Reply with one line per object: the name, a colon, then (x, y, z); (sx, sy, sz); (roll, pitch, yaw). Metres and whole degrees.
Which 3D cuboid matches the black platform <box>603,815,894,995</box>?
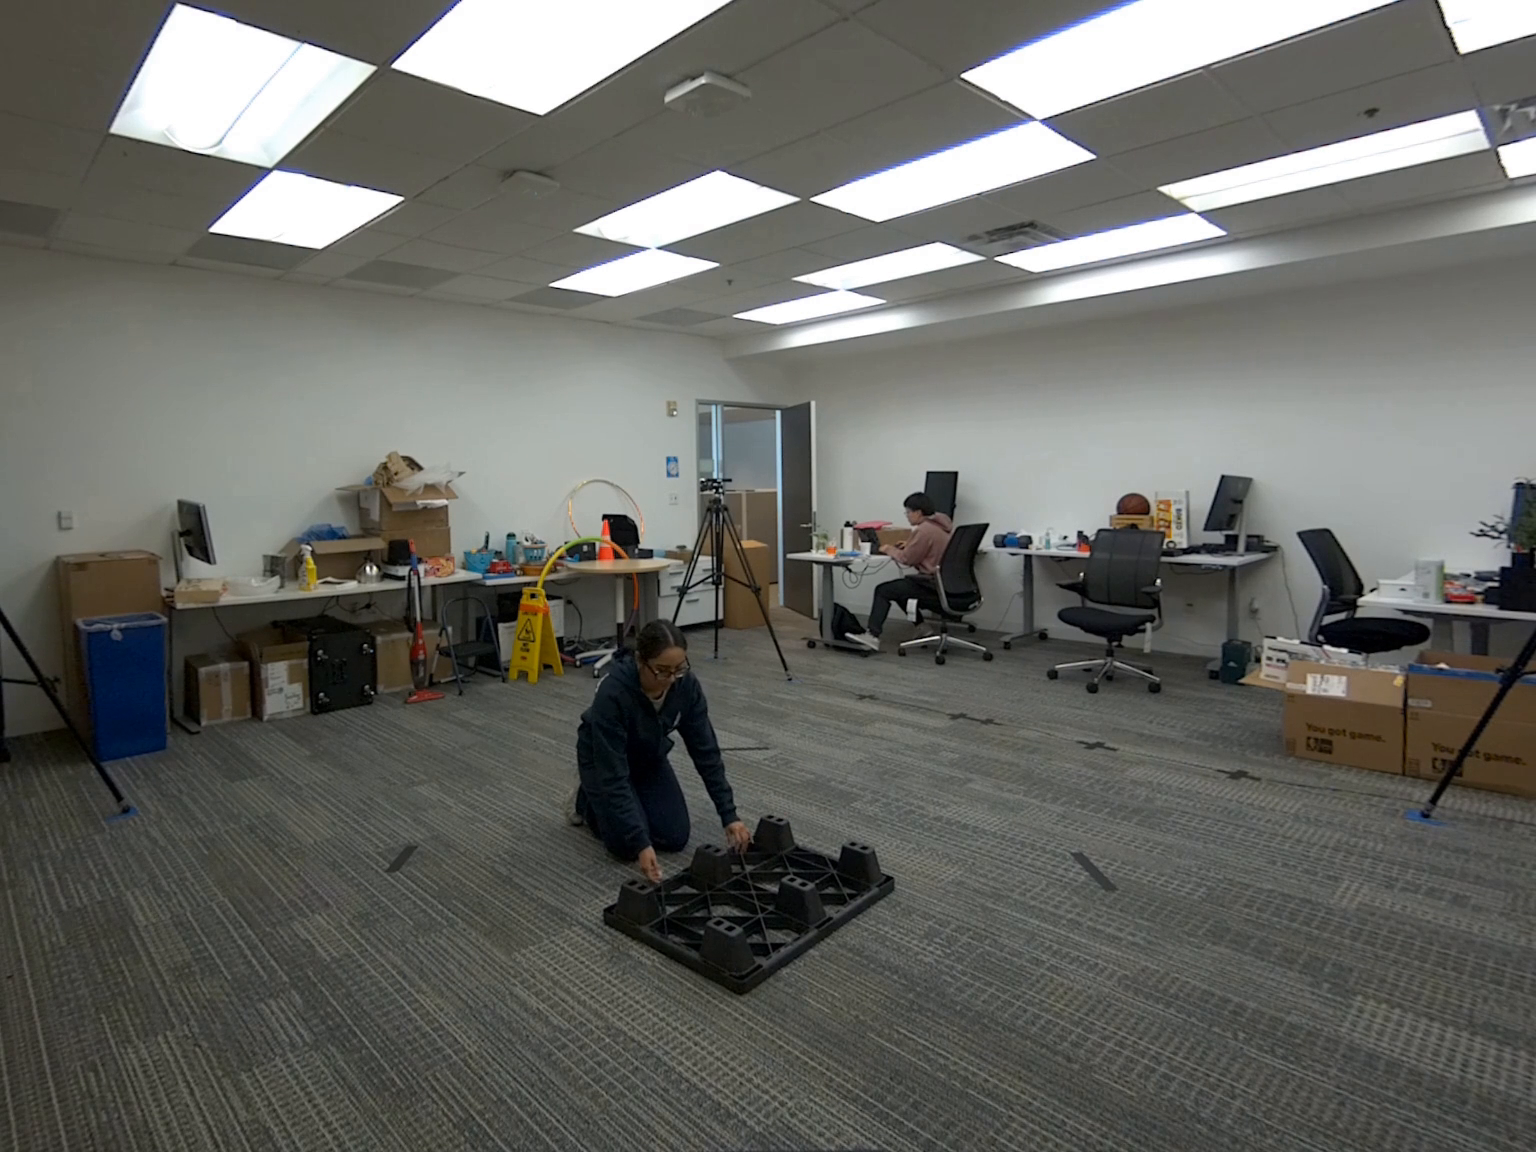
black platform: (-0.045, 1.013, 2.800); (0.624, 0.142, 0.785); (5, 9, 41)
